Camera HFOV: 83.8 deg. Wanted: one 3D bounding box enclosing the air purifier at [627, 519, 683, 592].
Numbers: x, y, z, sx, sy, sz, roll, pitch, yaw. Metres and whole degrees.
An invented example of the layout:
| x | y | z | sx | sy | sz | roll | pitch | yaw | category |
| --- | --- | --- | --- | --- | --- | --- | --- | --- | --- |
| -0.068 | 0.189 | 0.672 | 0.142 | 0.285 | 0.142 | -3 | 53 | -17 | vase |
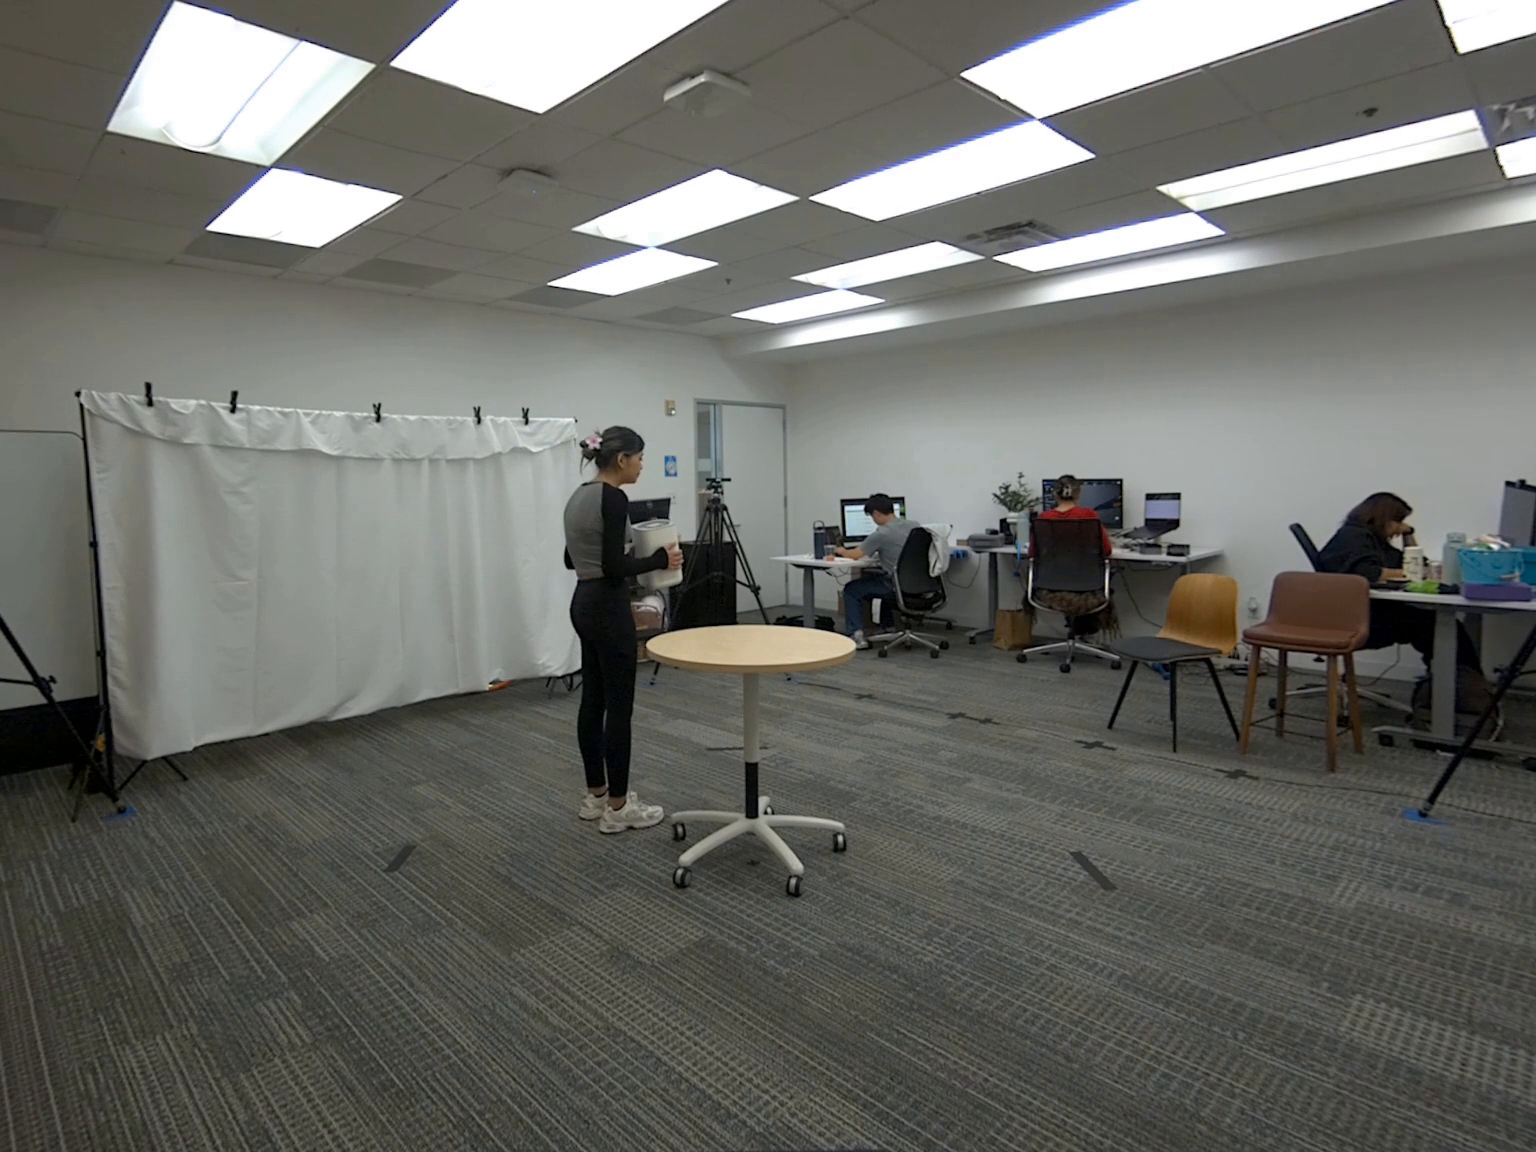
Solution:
| x | y | z | sx | sy | sz | roll | pitch | yaw | category |
| --- | --- | --- | --- | --- | --- | --- | --- | --- | --- |
| -0.478 | -0.079 | 3.636 | 0.168 | 0.262 | 0.176 | -13 | 15 | -29 | air purifier |
